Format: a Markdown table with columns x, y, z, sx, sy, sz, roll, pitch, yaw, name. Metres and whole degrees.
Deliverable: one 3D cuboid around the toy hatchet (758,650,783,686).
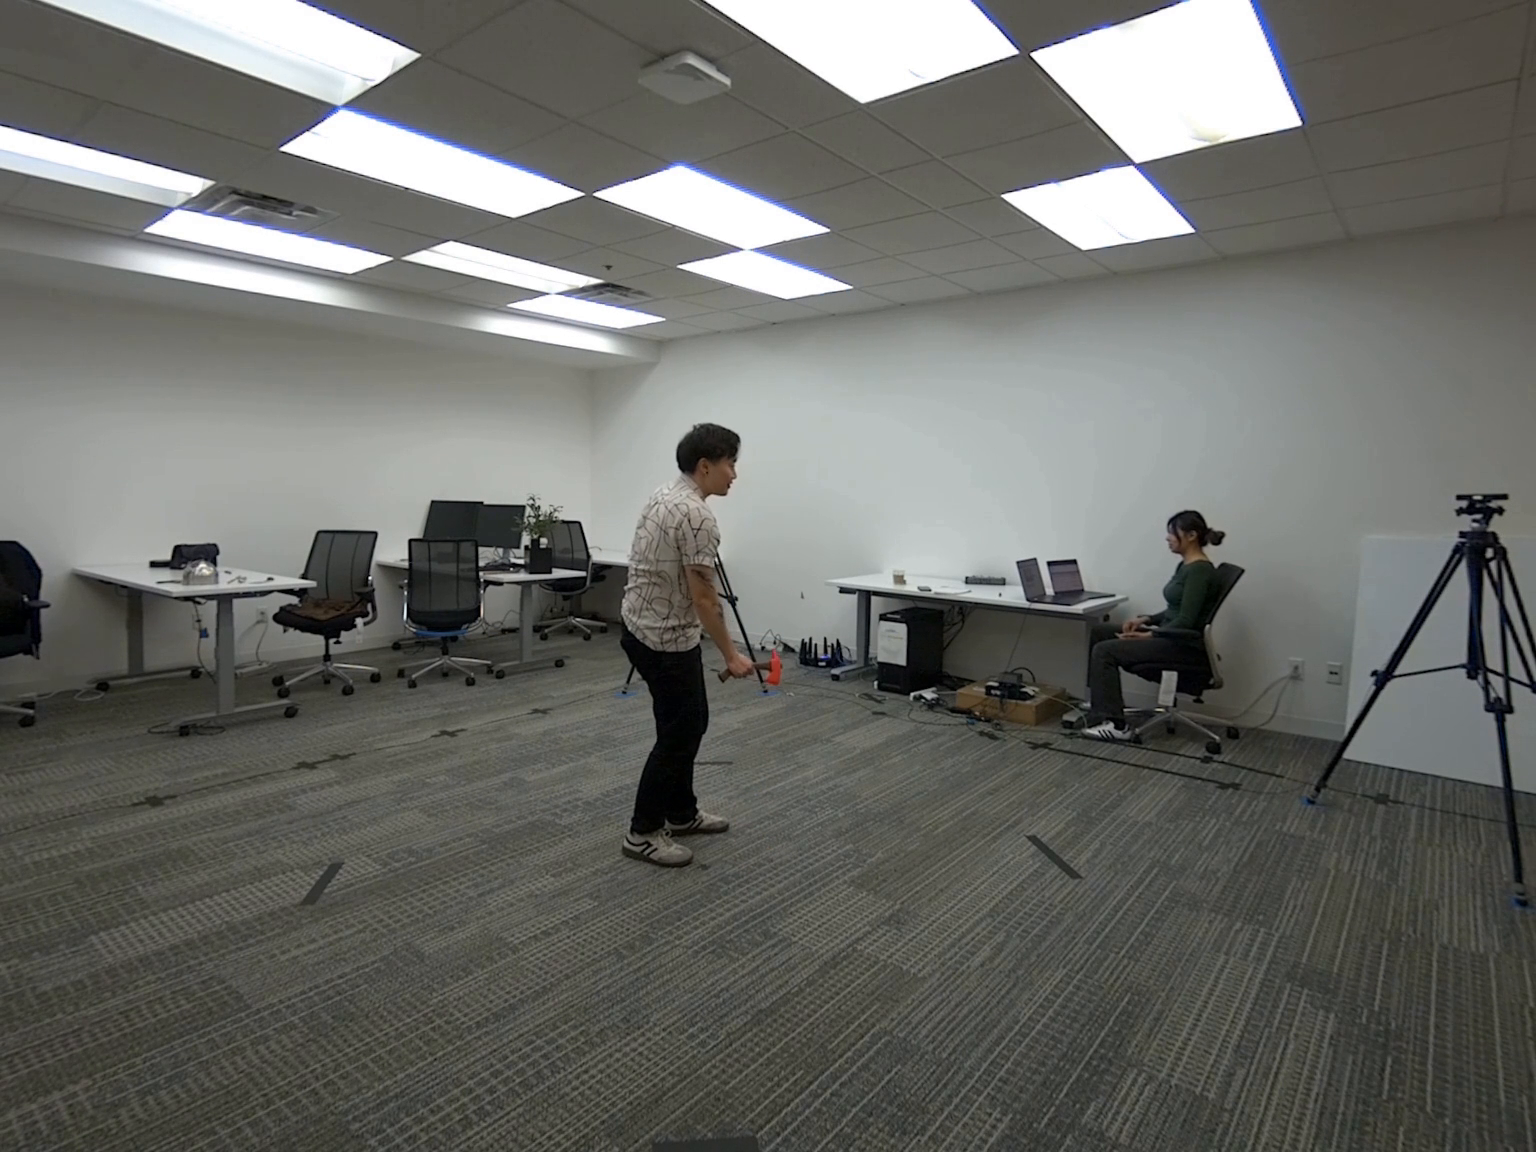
| x | y | z | sx | sy | sz | roll | pitch | yaw | name |
| --- | --- | --- | --- | --- | --- | --- | --- | --- | --- |
| -0.058 | 0.372 | 3.111 | 0.265 | 0.132 | 0.030 | -21 | -5 | -29 | toy hatchet |
